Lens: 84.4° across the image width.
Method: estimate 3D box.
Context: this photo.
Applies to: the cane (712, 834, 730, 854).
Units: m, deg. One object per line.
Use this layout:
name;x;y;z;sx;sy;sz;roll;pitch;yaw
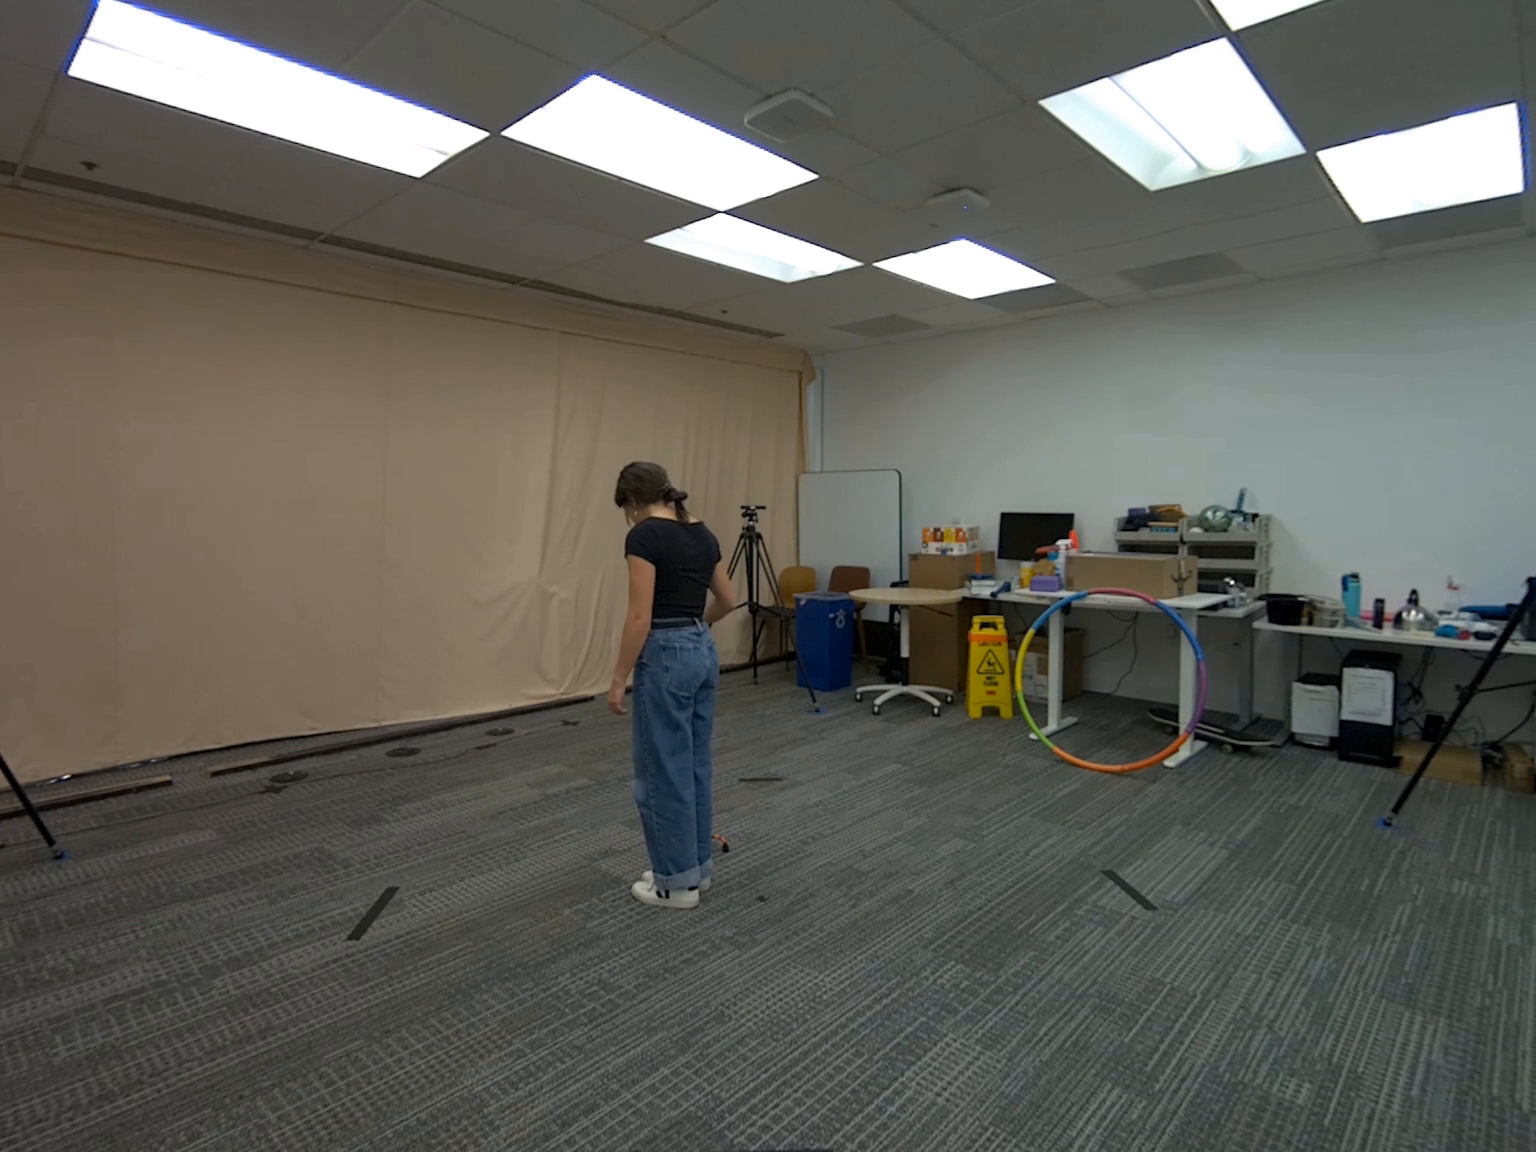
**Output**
cane;-0.282;0.662;3.375;0.212;0.906;0.148;-1;2;29
